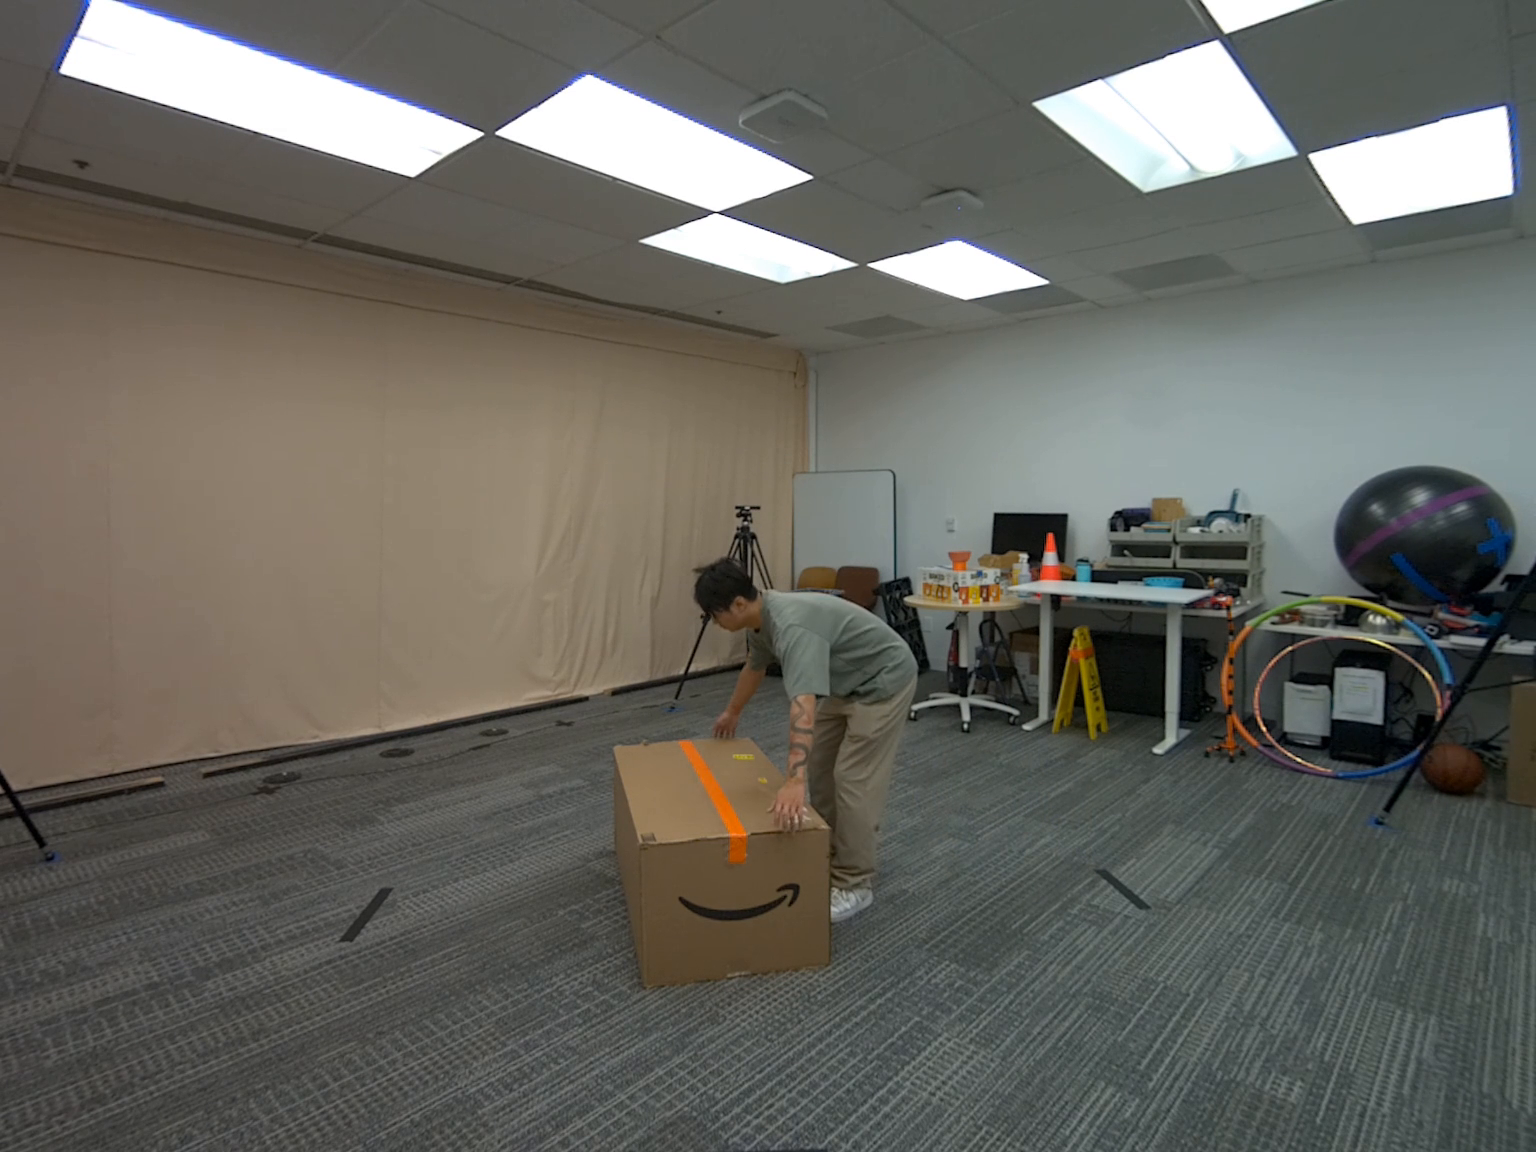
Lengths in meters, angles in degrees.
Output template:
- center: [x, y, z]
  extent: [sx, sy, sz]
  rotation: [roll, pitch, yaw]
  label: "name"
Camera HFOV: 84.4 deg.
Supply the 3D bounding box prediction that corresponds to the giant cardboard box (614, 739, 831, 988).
- center: [-0.219, 0.927, 2.973]
  extent: [0.569, 0.425, 1.042]
  rotation: [-1, 4, -14]
  label: "giant cardboard box"
